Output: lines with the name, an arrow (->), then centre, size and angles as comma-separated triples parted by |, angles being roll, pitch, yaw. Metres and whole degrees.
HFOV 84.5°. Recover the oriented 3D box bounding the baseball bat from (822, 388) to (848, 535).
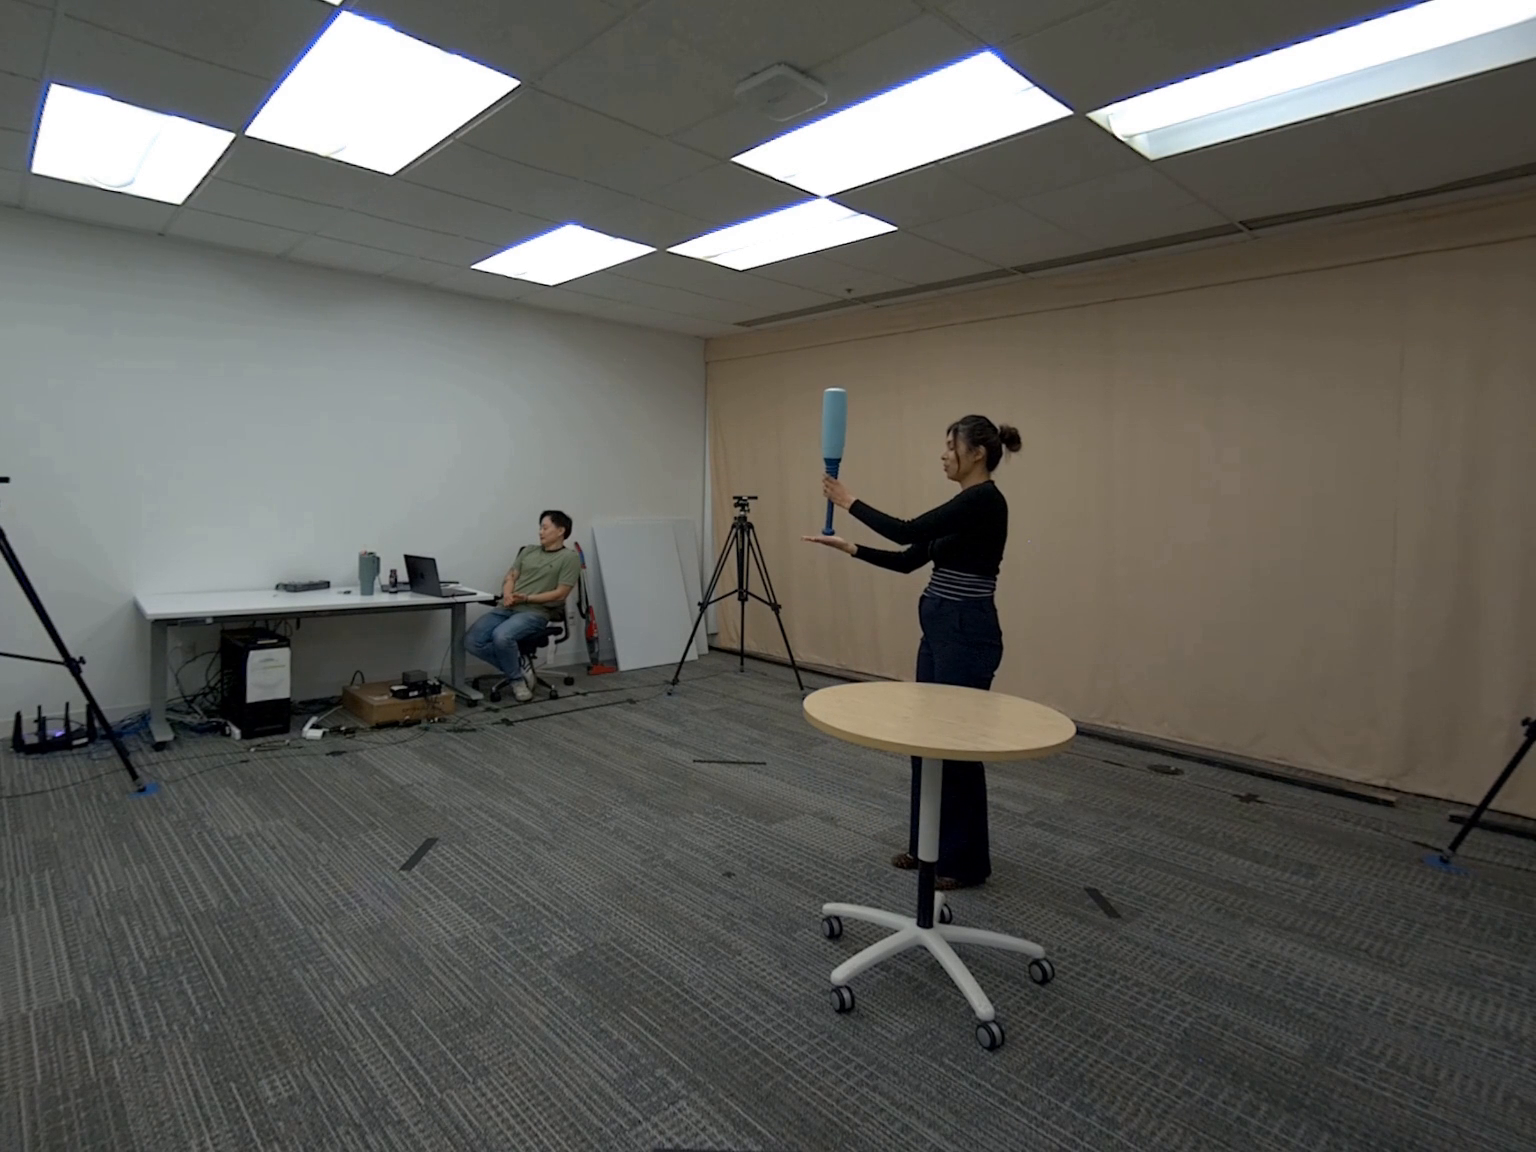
baseball bat -> 0.231, -0.414, 3.100 | 0.089, 0.539, 0.090 | 3, 10, -2
